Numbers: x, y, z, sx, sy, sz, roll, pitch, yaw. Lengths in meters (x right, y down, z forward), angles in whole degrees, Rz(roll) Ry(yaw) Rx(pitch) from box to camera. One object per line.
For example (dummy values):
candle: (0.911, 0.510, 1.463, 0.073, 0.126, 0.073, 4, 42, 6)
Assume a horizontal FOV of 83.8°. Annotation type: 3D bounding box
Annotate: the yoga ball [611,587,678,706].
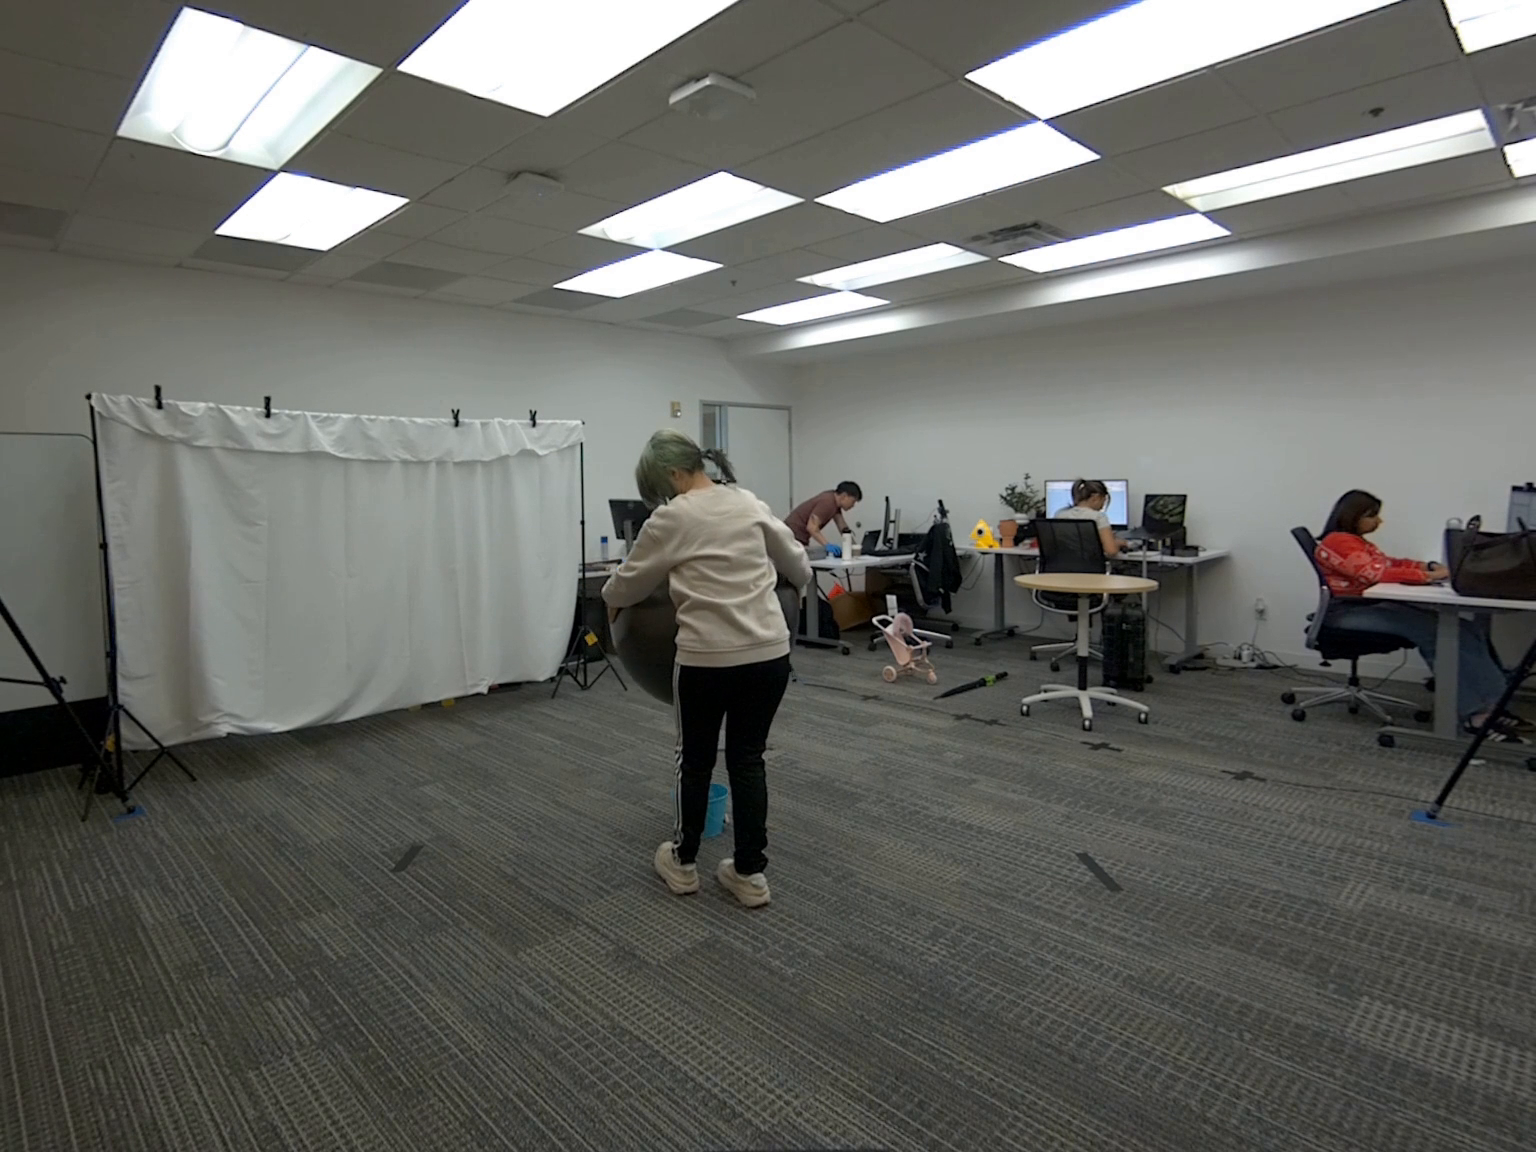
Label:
yoga ball: (-0.262, 0.159, 3.415, 0.757, 0.755, 0.762, -1, 5, -2)
